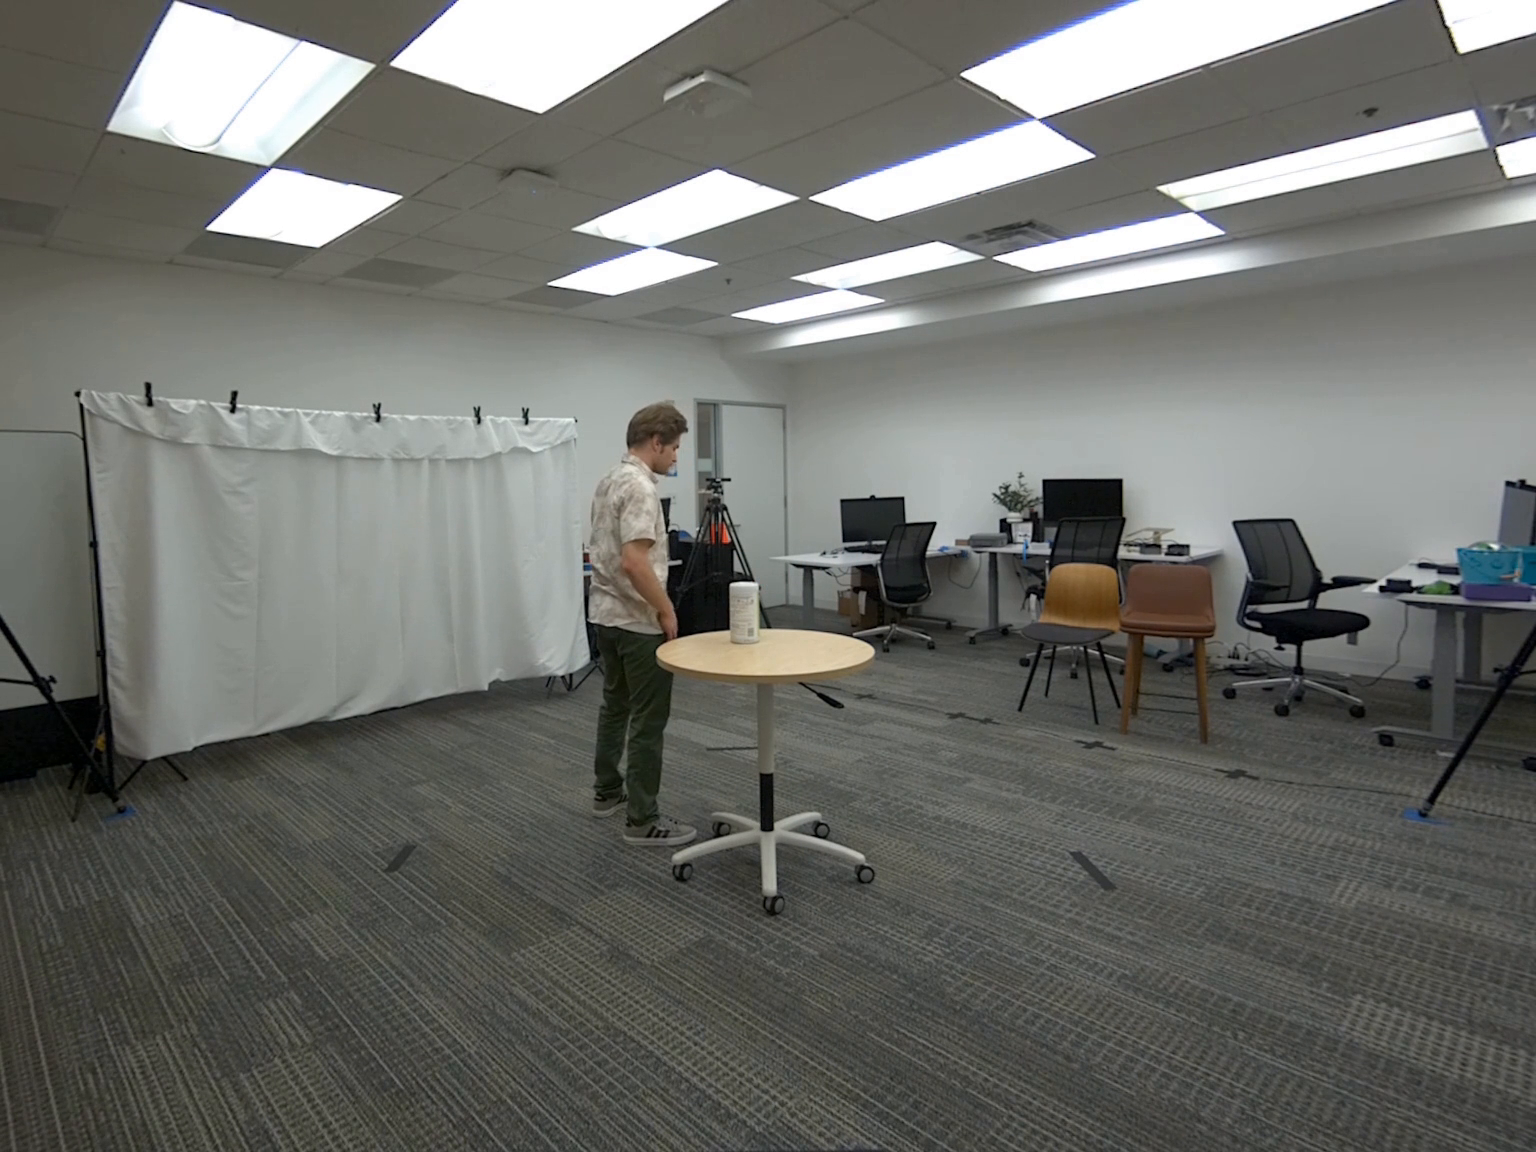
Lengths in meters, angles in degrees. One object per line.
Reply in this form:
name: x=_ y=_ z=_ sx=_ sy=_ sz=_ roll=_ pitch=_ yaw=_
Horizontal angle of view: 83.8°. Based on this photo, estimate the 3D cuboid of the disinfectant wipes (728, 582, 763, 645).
disinfectant wipes: x=-0.086 y=0.133 z=3.152 sx=0.118 sy=0.217 sz=0.118 roll=0 pitch=1 yaw=-2
